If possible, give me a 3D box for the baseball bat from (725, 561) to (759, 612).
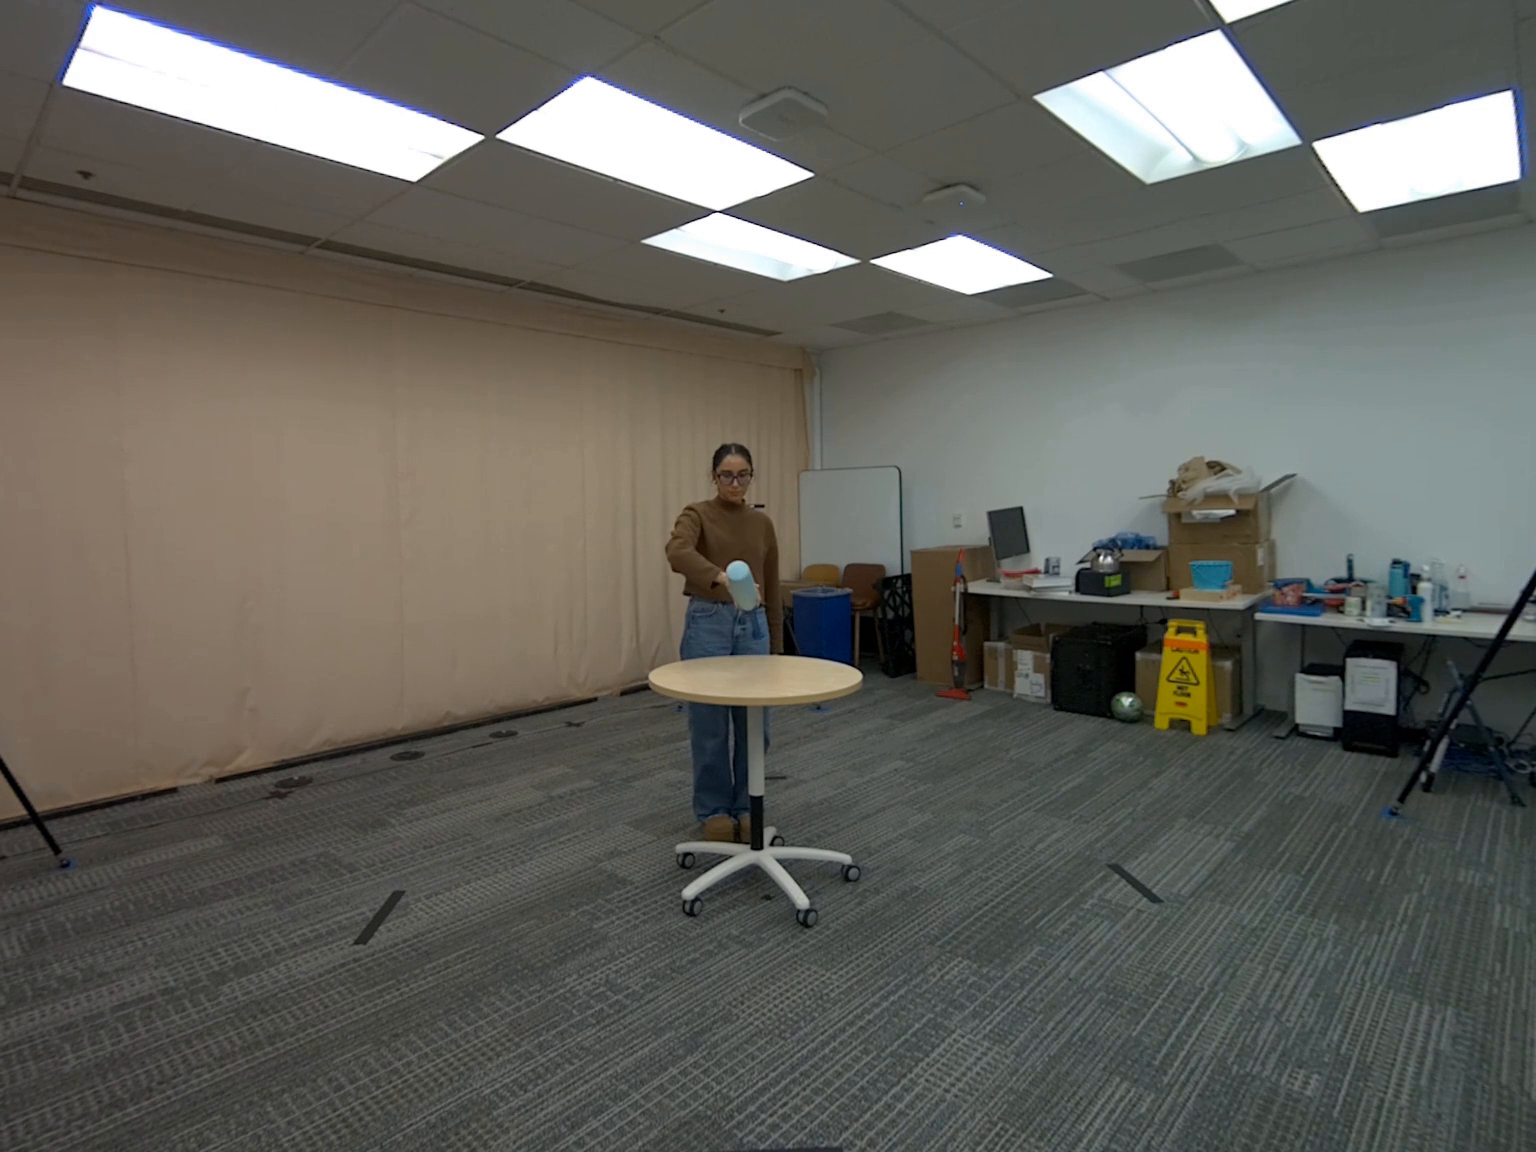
[{"bbox_3d":[-0.075,0.108,3.151,0.090,0.090,0.531,0,-29,6],"label":"baseball bat"}]
